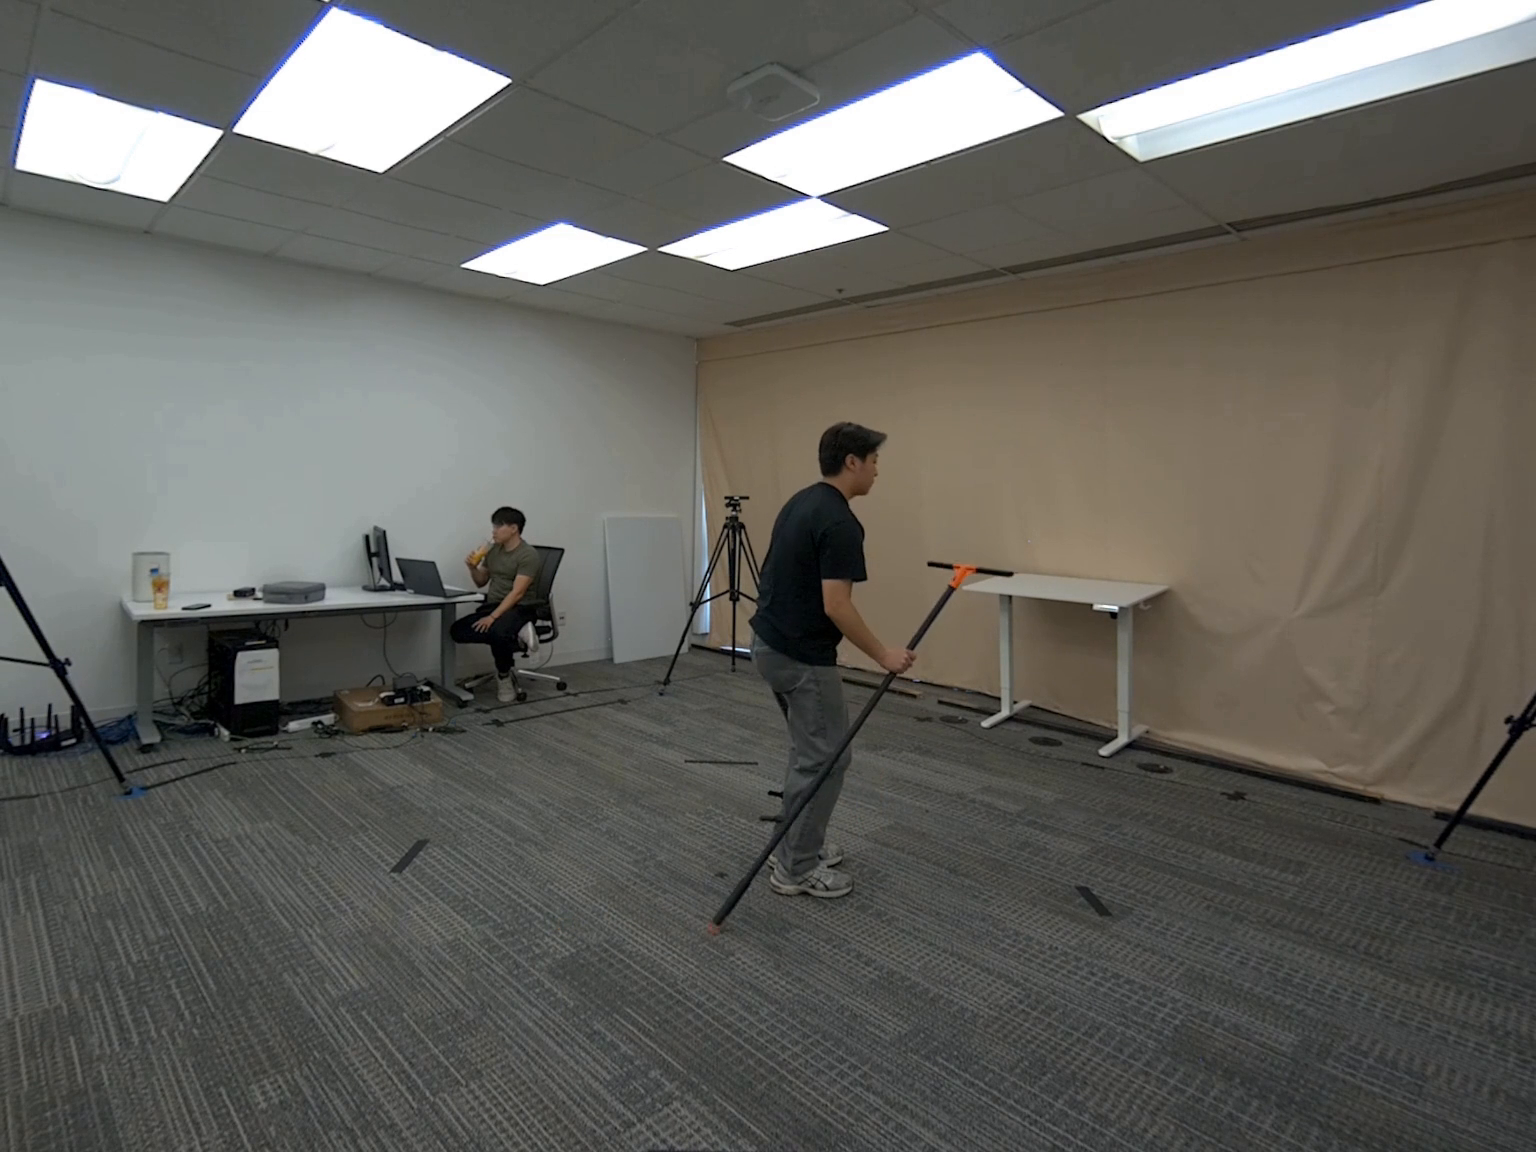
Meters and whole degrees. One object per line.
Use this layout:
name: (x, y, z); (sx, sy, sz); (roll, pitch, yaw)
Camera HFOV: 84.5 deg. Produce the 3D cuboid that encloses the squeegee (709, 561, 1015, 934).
squeegee: (0.275, 0.559, 2.836); (0.052, 1.538, 0.447); (46, -14, -22)
